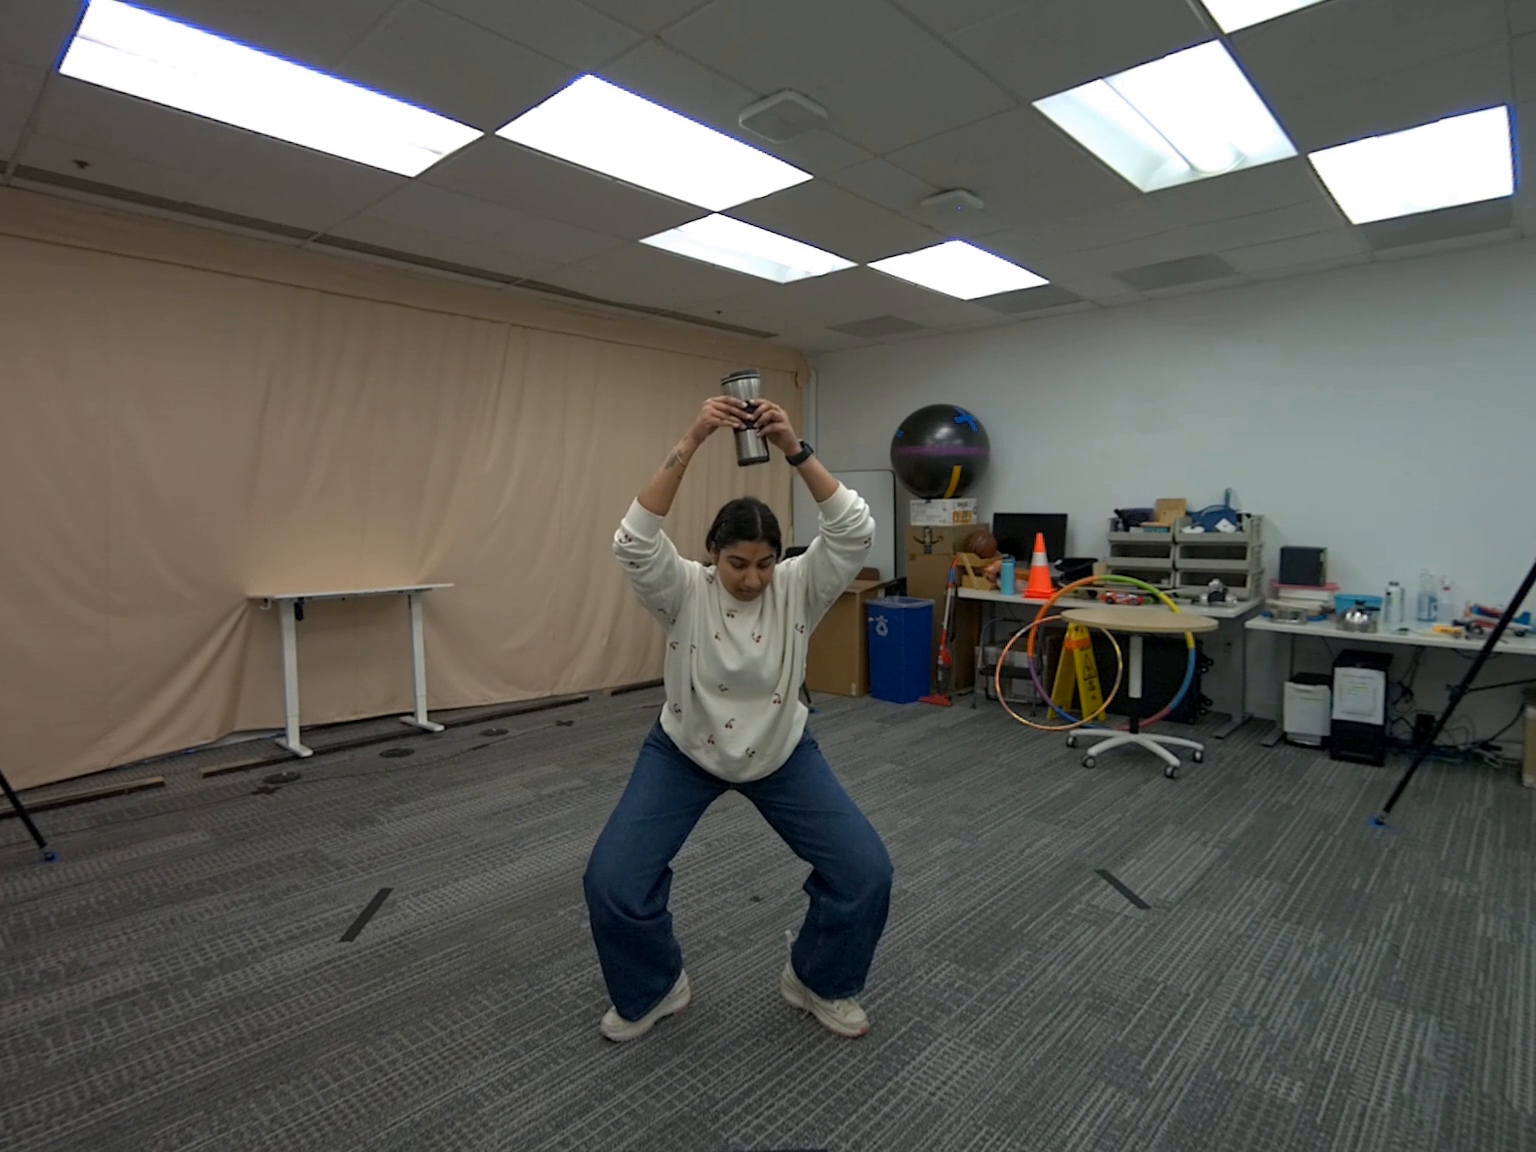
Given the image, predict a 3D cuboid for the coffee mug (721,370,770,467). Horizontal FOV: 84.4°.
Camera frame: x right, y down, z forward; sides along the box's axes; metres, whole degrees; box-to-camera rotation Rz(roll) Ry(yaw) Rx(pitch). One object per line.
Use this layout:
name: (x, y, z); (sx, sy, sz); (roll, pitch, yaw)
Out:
coffee mug: (-0.032, -0.344, 1.815); (0.086, 0.203, 0.124); (-10, -2, -20)
